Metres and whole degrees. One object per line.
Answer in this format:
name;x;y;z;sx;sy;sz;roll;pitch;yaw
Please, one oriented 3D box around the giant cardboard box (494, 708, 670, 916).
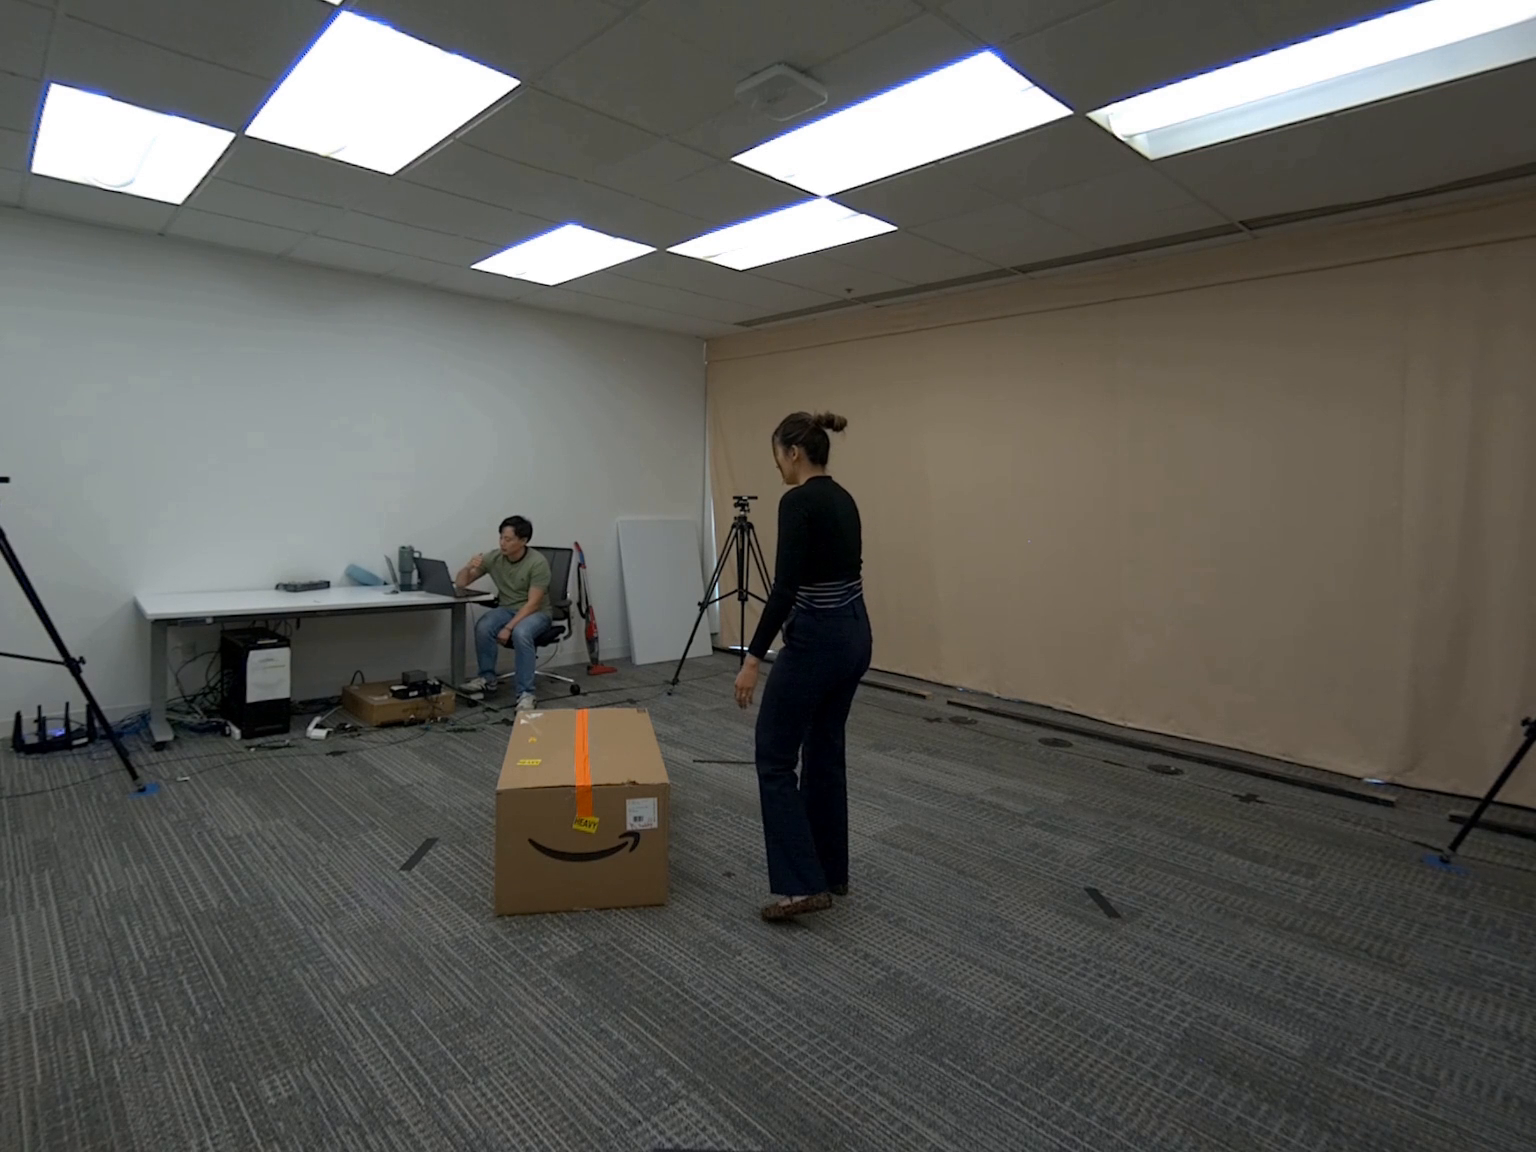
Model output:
giant cardboard box;-0.732;0.857;3.301;0.572;0.425;1.039;0;5;-12
